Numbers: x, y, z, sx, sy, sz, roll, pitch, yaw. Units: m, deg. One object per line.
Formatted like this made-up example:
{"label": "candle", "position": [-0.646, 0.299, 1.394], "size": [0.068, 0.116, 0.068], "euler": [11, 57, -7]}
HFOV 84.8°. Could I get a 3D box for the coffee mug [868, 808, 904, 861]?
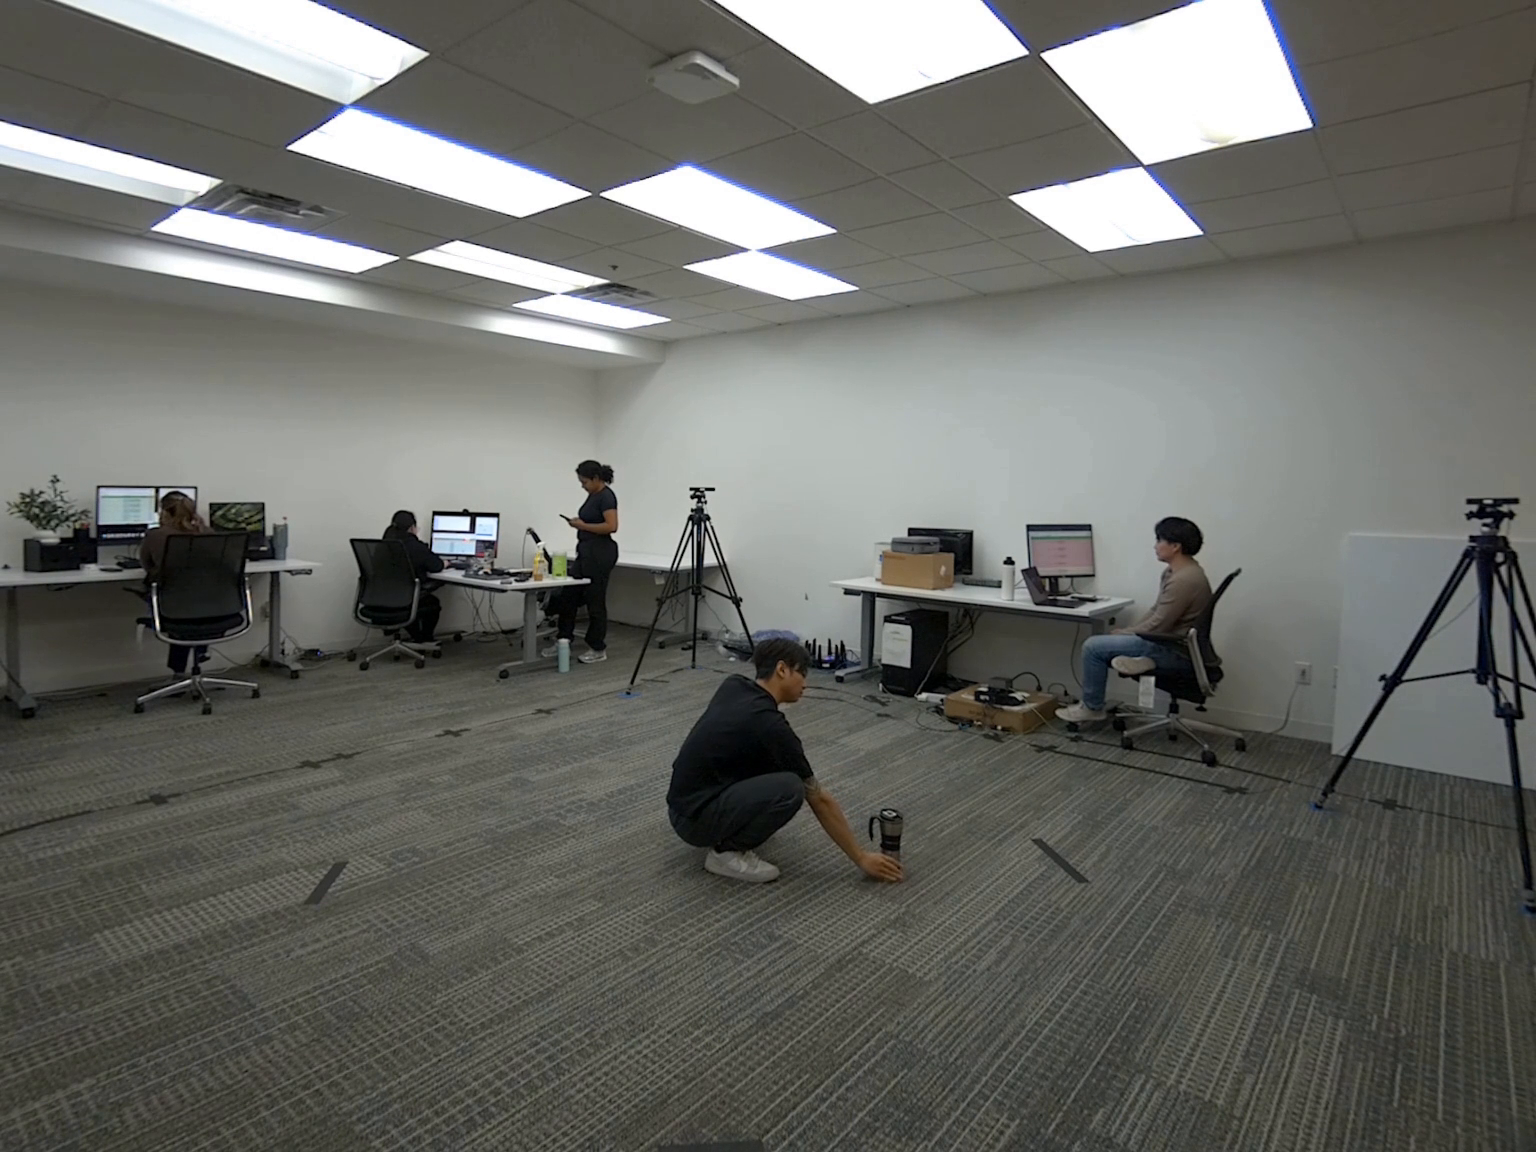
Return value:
{"label": "coffee mug", "position": [0.436, 0.982, 3.170], "size": [0.126, 0.201, 0.086], "euler": [6, 11, 35]}
